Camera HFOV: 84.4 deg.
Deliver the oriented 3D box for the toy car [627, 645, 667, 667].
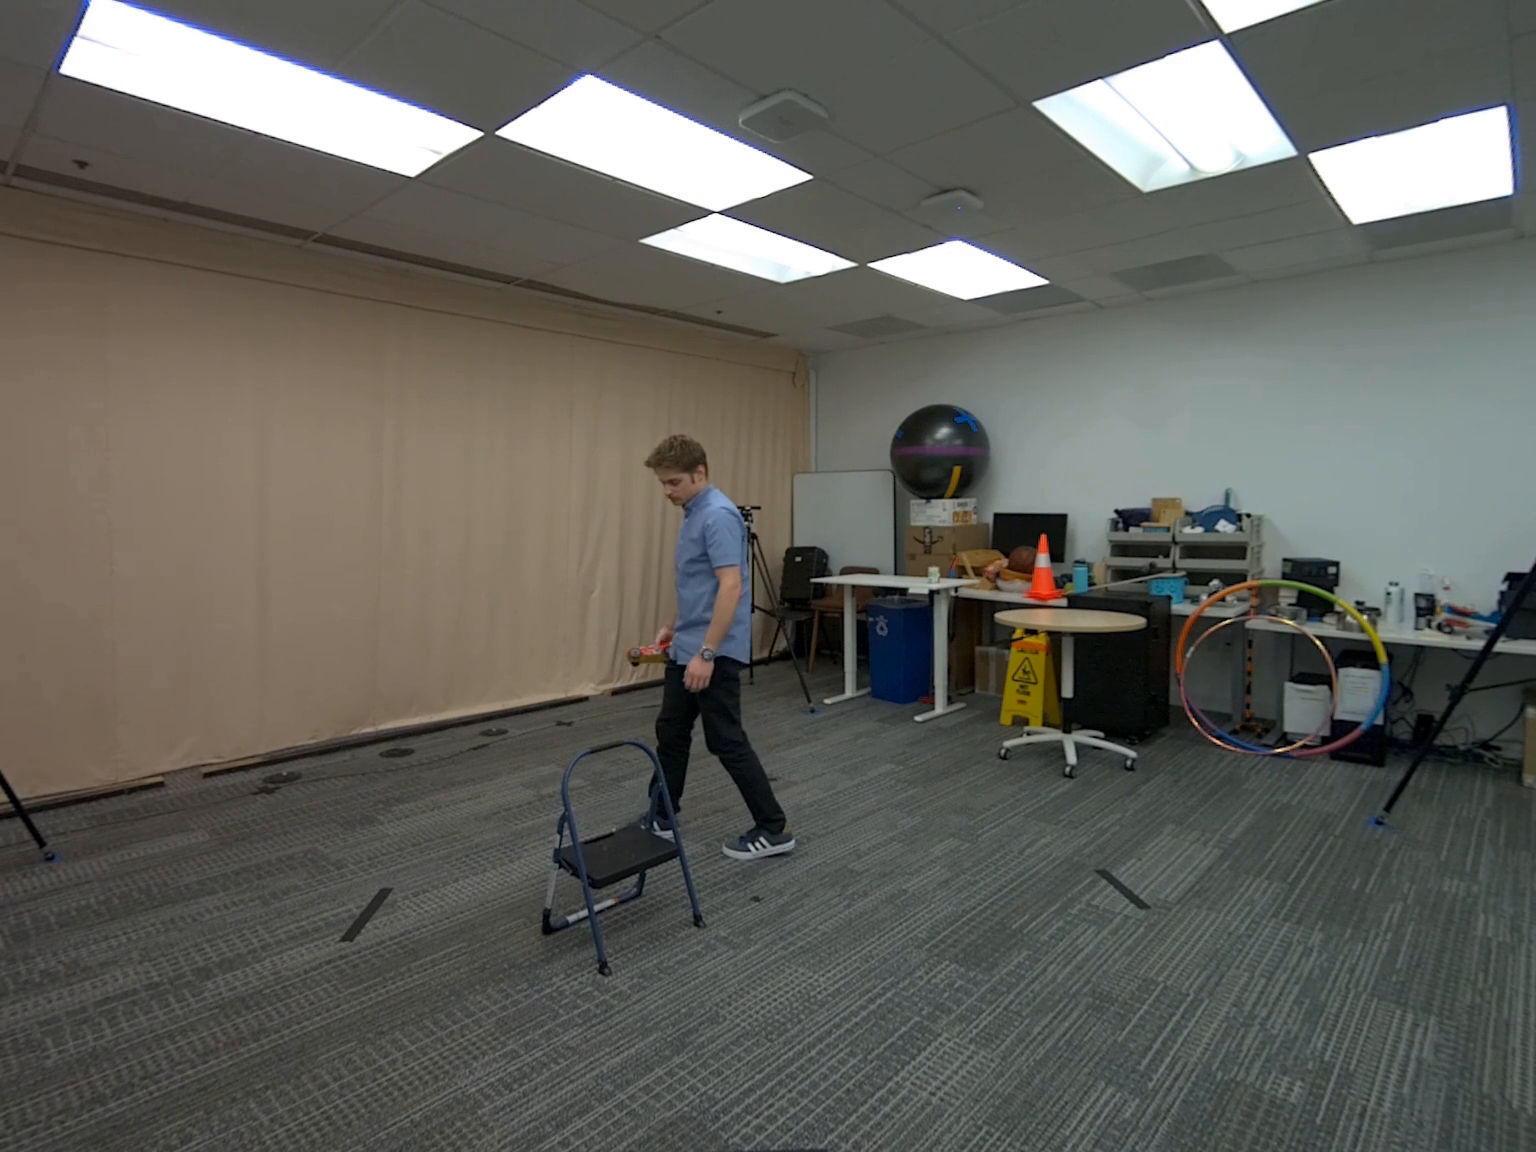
[{"bbox_3d":[-0.484,0.339,3.660,0.252,0.085,0.129,-11,-28,-11],"label":"toy car"}]
